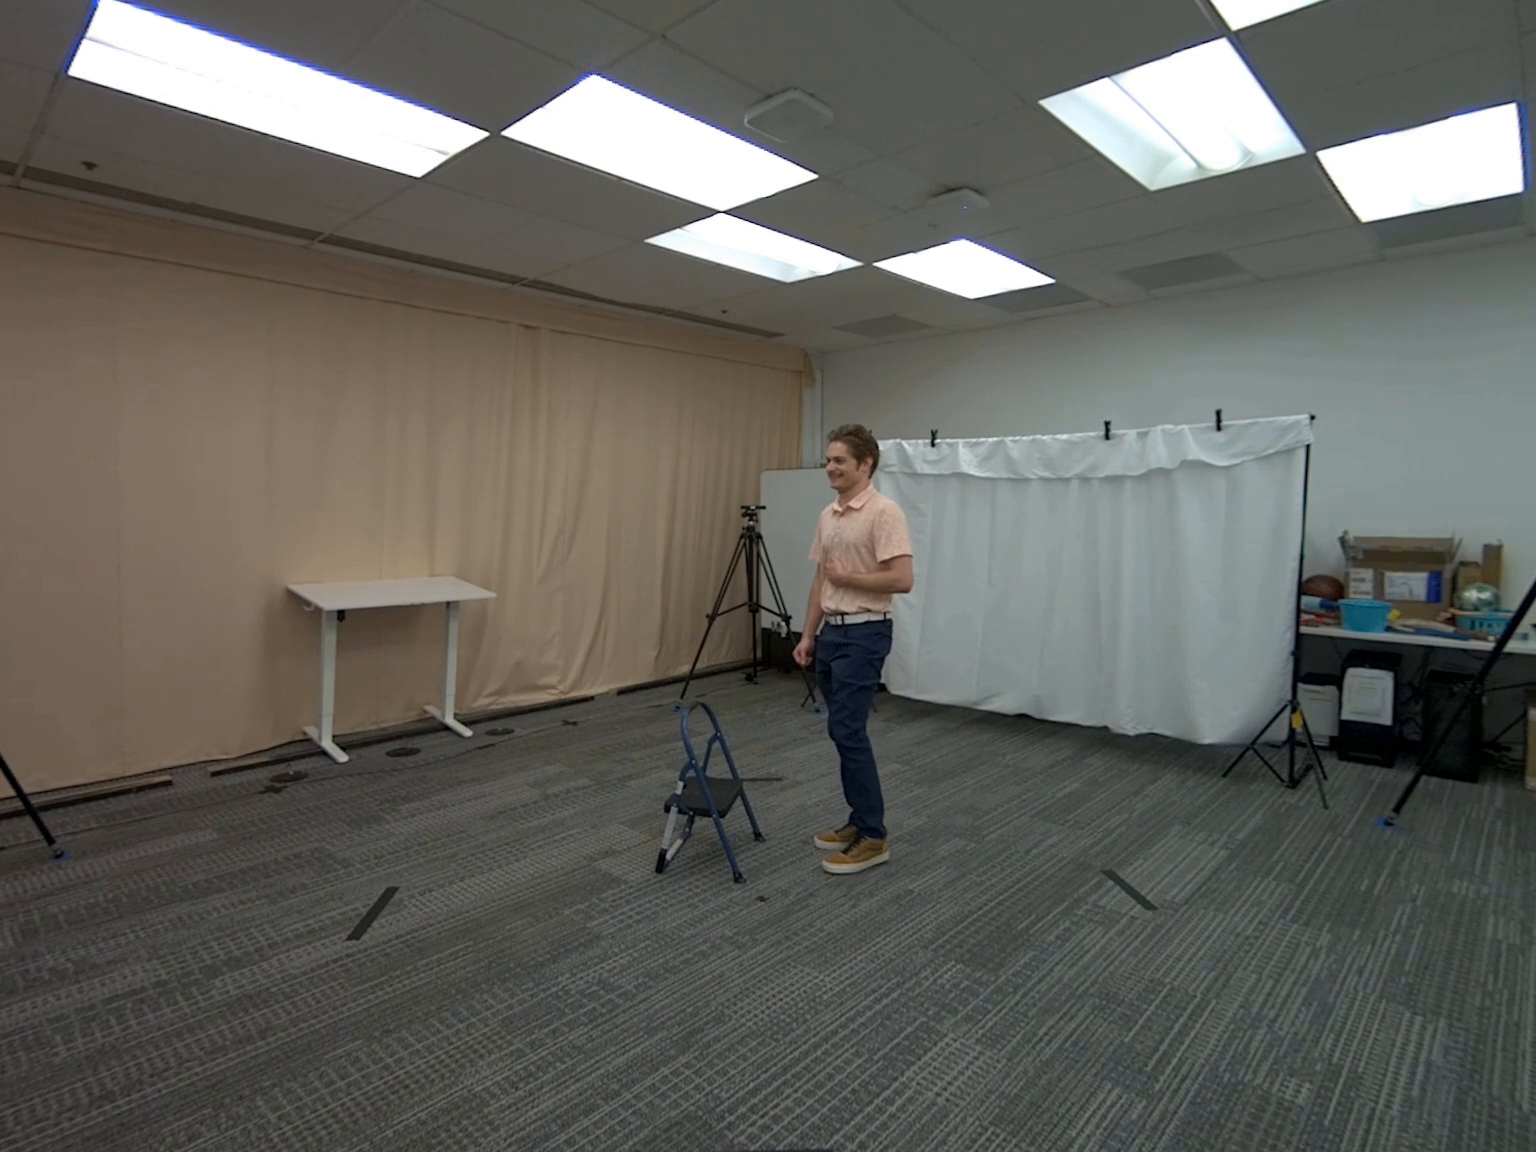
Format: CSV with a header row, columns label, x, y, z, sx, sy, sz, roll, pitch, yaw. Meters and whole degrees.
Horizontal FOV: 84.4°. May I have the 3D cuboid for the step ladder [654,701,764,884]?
label,x,y,z,sx,sy,sz,roll,pitch,yaw
step ladder,-0.222,0.815,3.336,0.354,0.605,0.426,0,3,12
